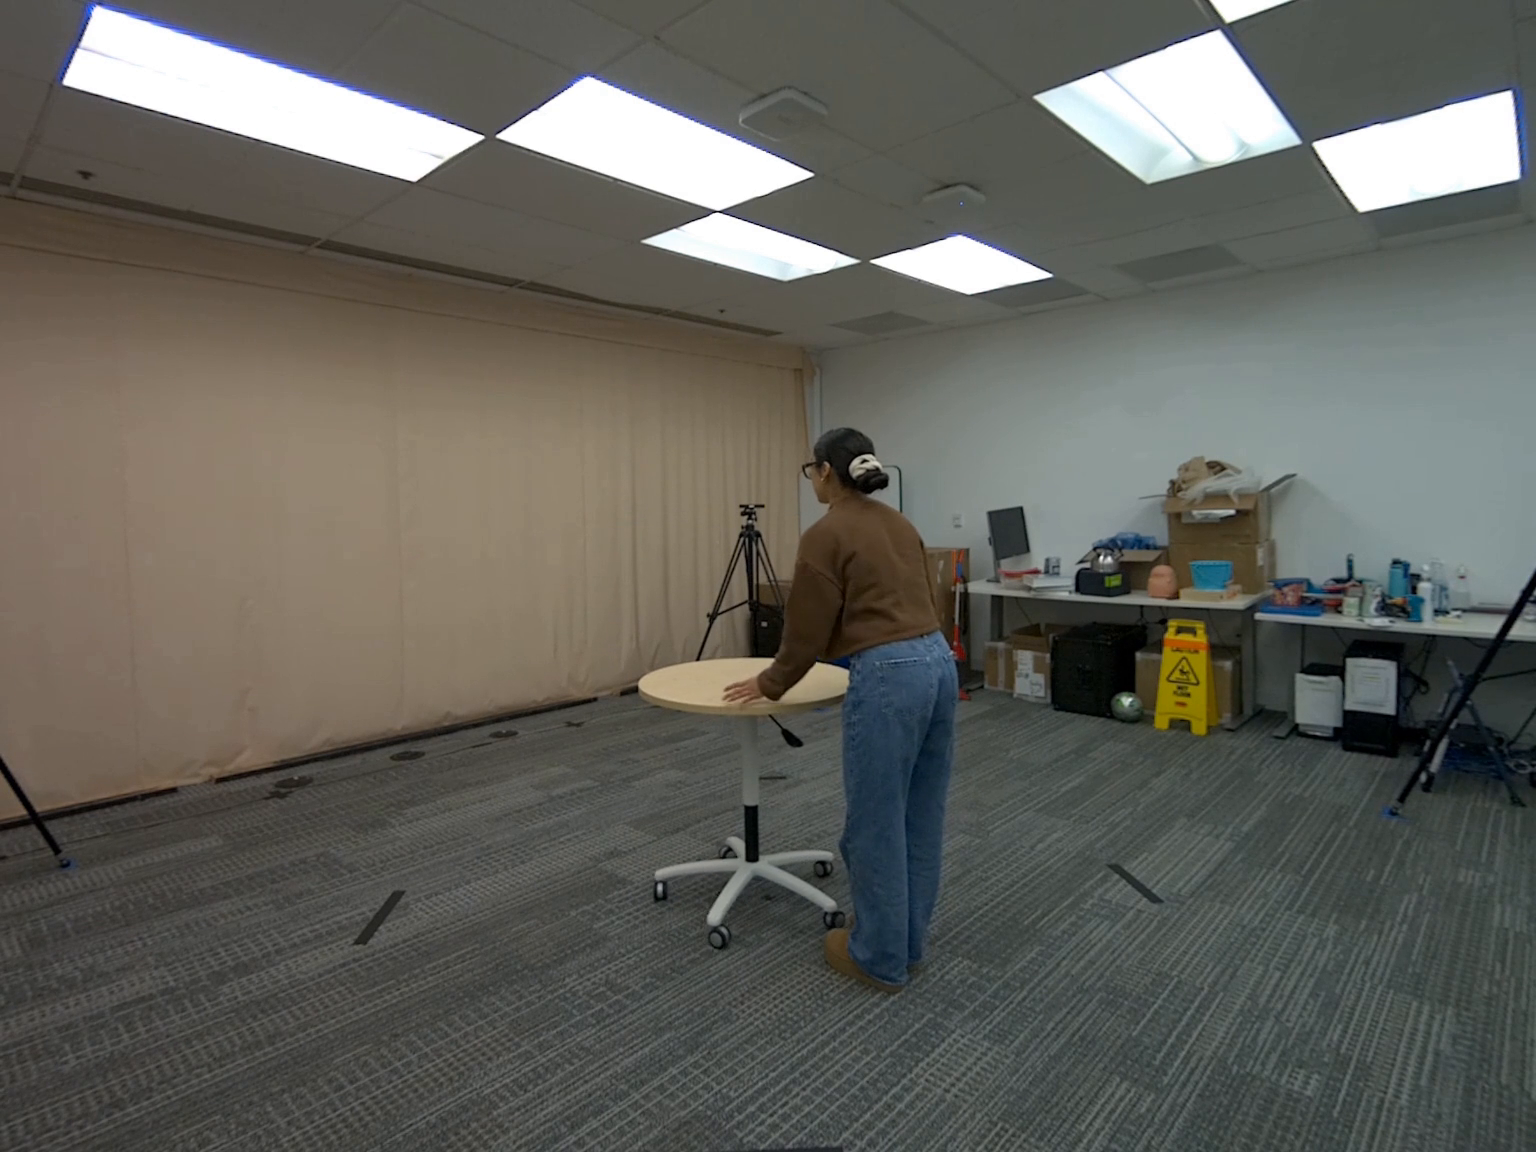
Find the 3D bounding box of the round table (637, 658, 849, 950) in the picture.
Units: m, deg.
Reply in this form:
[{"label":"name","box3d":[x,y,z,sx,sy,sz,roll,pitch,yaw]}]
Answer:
[{"label":"round table","box3d":[-0.063,0.753,2.955,0.763,0.792,0.767,-1,4,-2]}]
